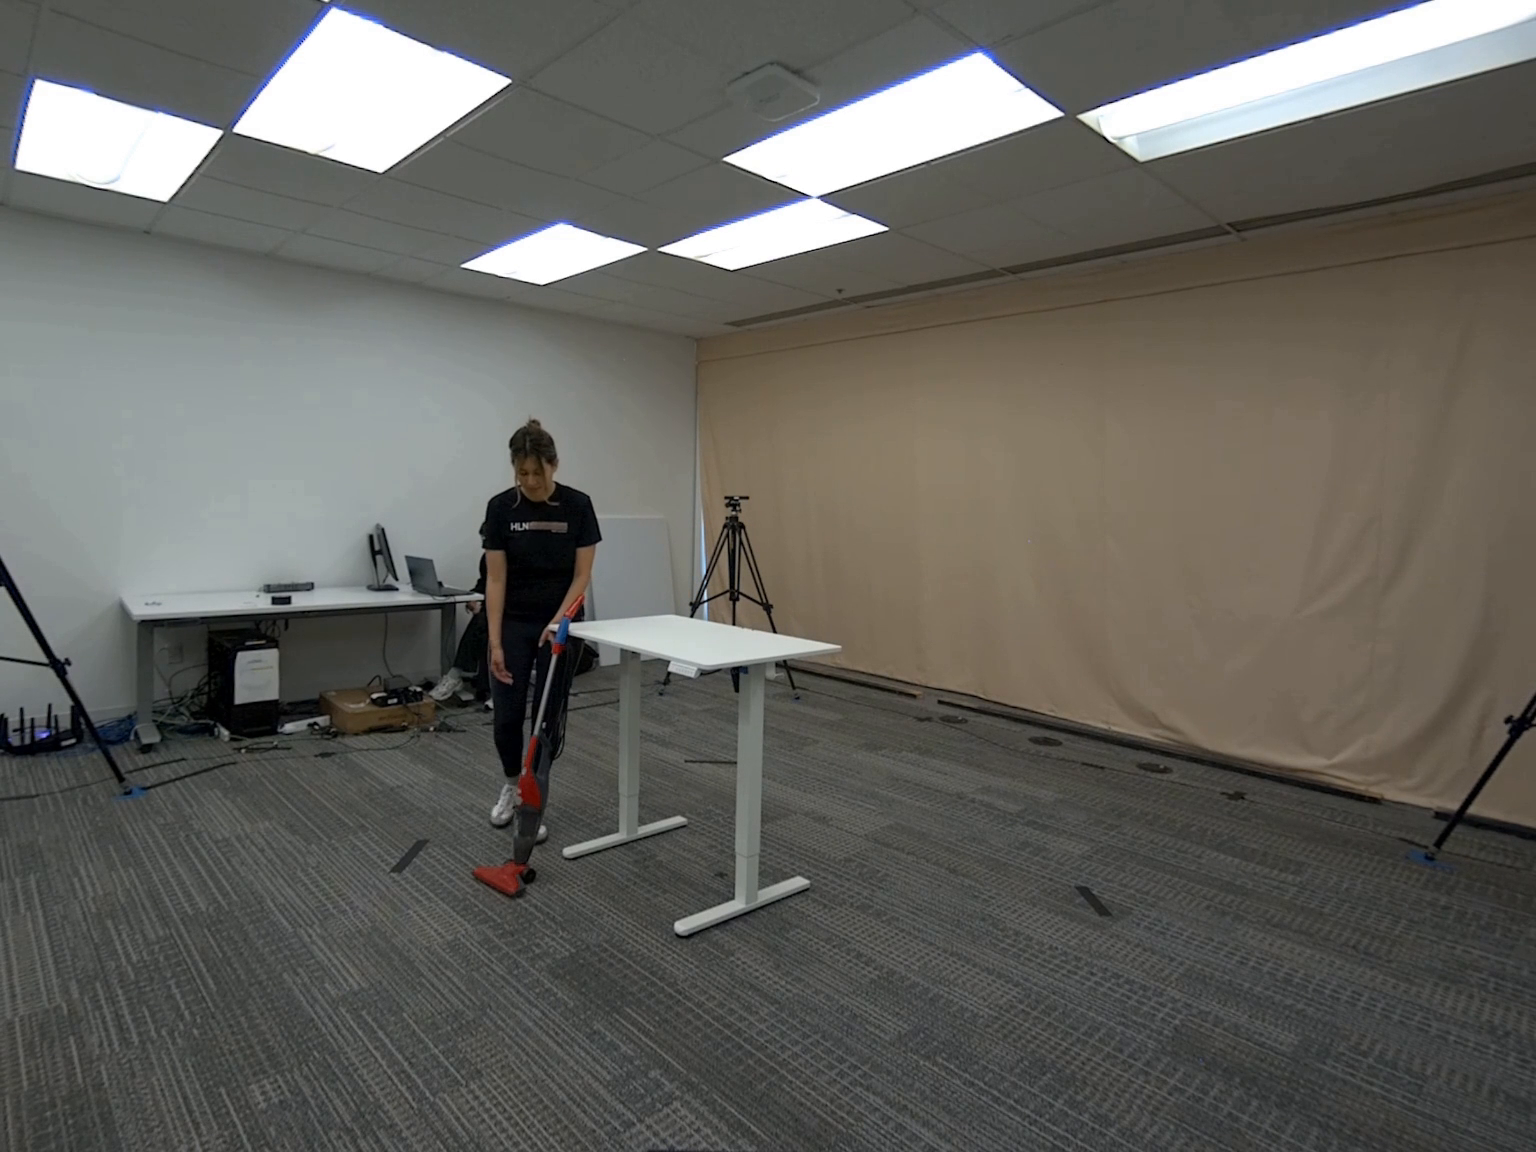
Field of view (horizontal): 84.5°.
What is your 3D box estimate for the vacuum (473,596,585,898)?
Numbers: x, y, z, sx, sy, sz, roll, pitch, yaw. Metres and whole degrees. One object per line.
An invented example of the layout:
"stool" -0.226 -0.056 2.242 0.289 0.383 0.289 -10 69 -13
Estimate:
"vacuum" -0.837 0.594 3.101 0.259 1.056 0.139 4 -14 37
